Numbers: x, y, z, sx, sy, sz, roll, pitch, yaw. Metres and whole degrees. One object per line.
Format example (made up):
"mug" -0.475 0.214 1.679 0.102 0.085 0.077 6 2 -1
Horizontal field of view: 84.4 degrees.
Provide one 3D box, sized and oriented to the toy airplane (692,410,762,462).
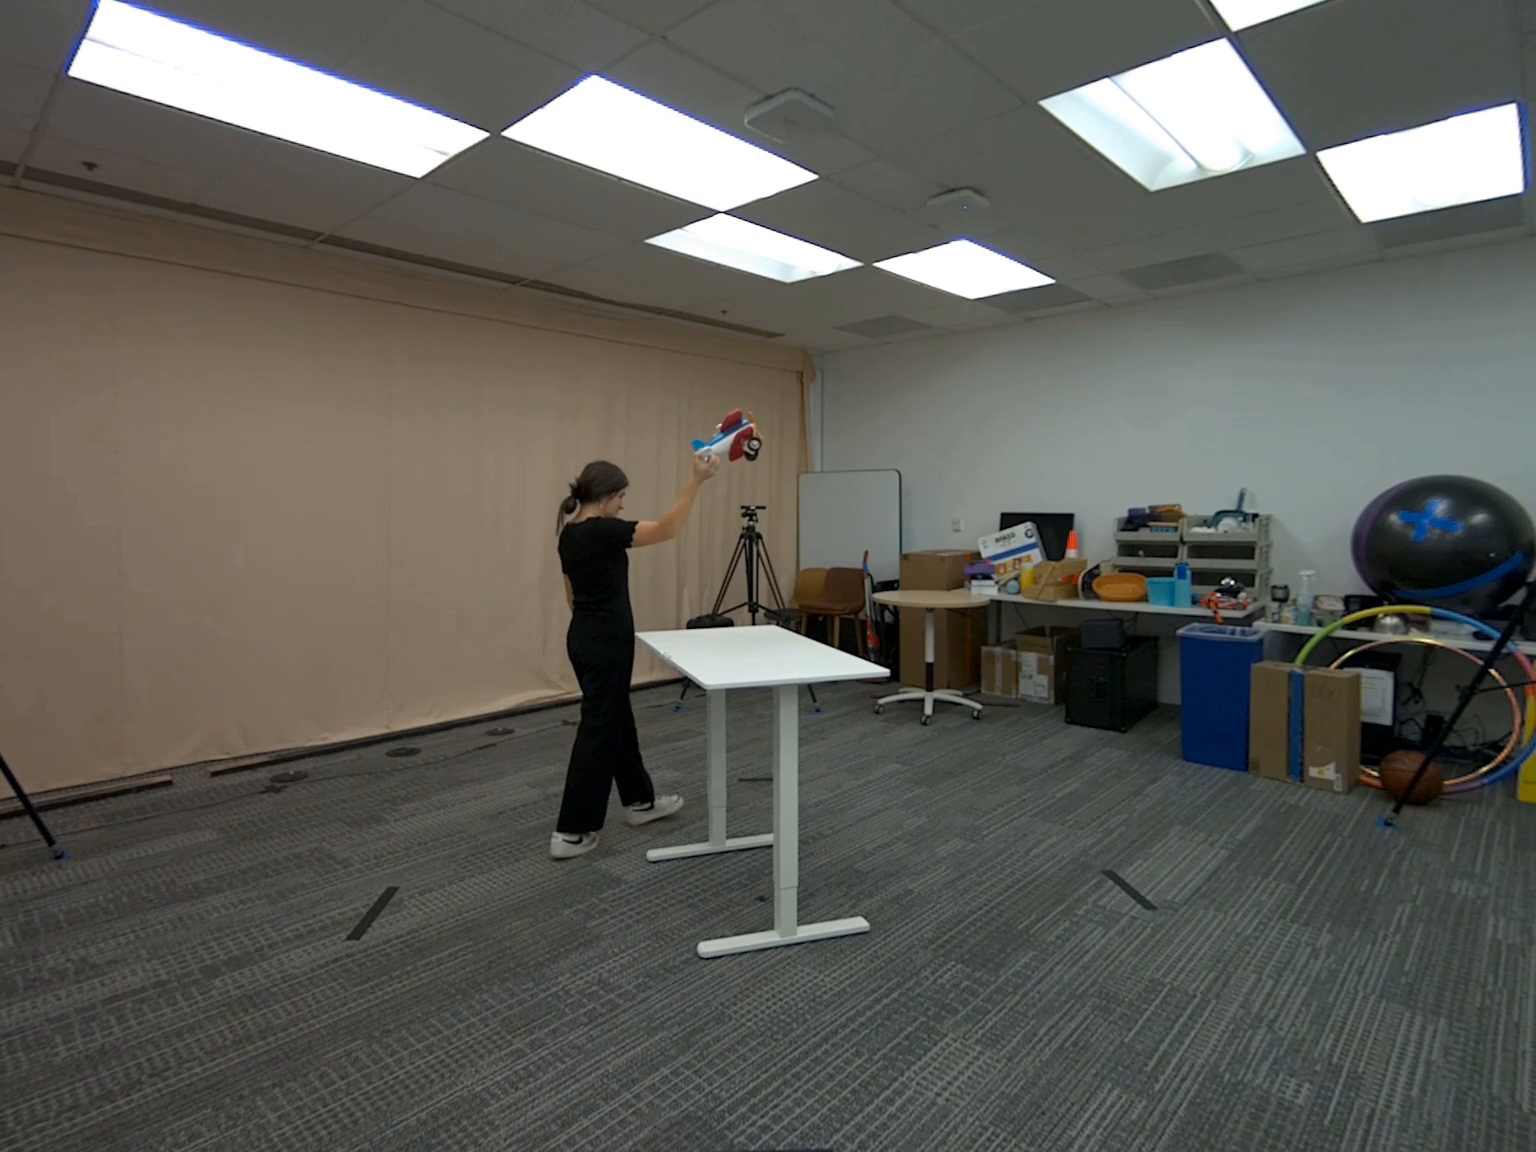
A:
"toy airplane" -0.139 -0.511 3.206 0.252 0.159 0.254 -8 -19 -39
